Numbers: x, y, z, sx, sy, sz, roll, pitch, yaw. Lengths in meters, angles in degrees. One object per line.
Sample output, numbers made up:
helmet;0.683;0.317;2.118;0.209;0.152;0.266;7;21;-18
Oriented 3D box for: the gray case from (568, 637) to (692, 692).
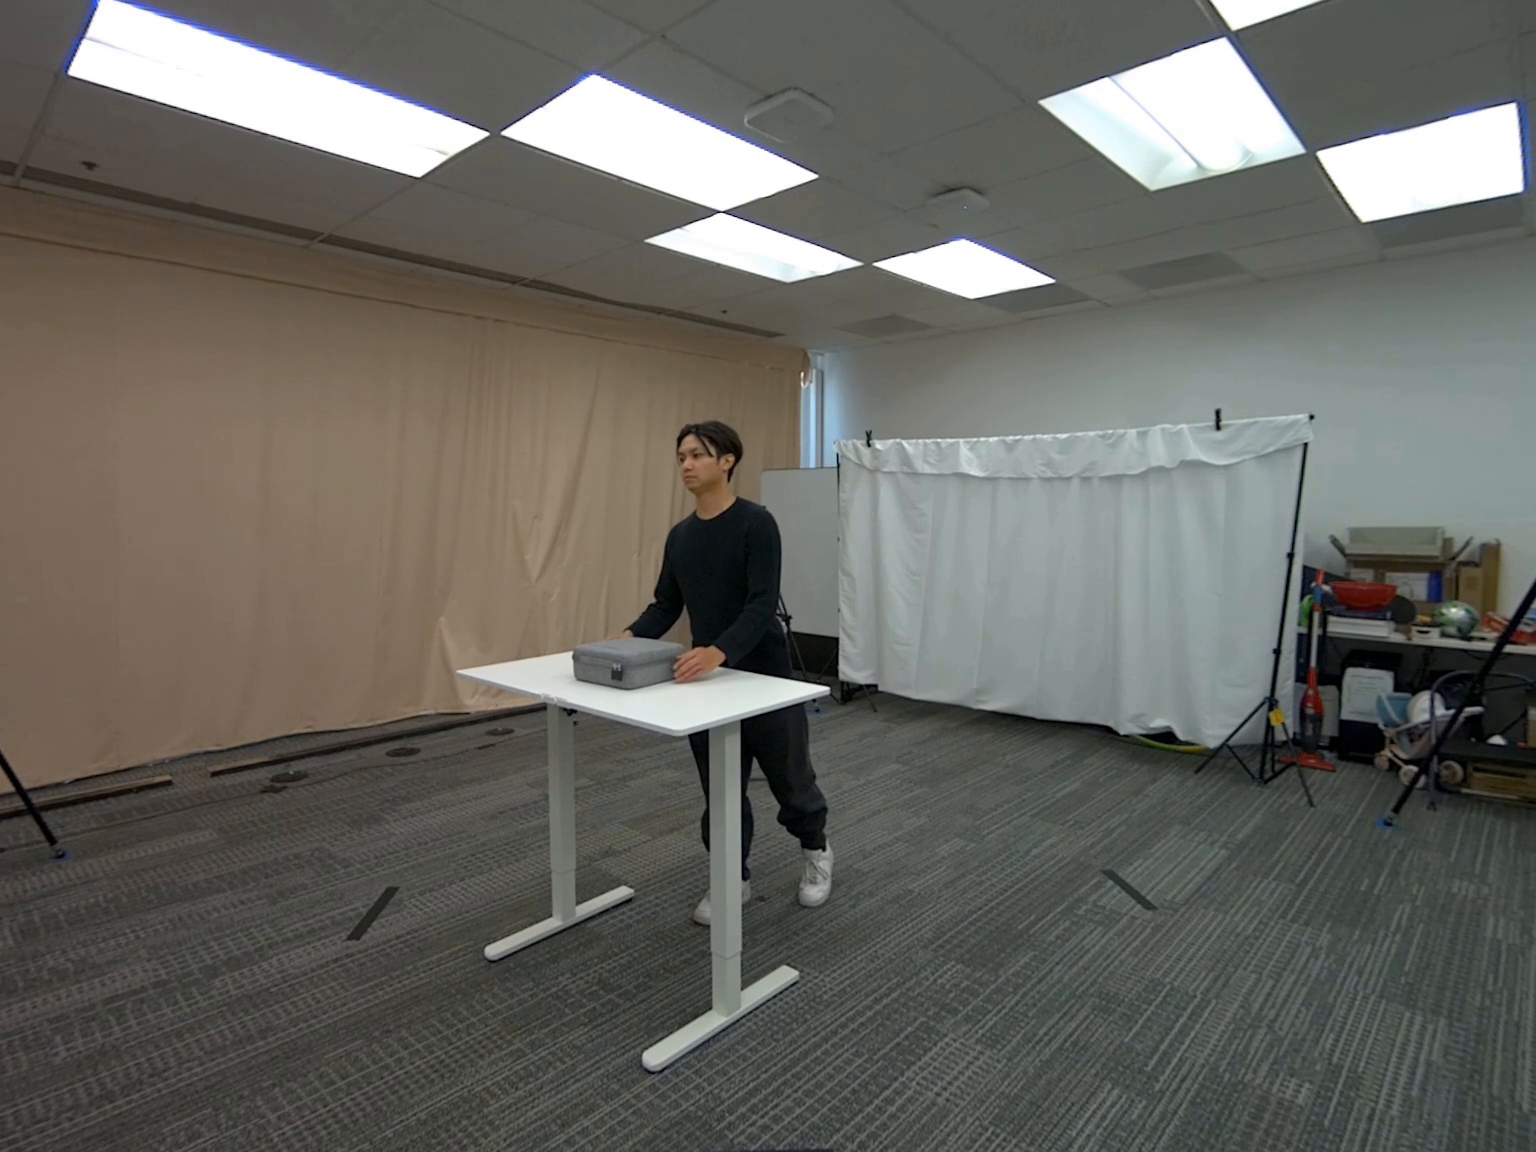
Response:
gray case;-0.405;0.253;2.504;0.265;0.104;0.253;2;4;38
